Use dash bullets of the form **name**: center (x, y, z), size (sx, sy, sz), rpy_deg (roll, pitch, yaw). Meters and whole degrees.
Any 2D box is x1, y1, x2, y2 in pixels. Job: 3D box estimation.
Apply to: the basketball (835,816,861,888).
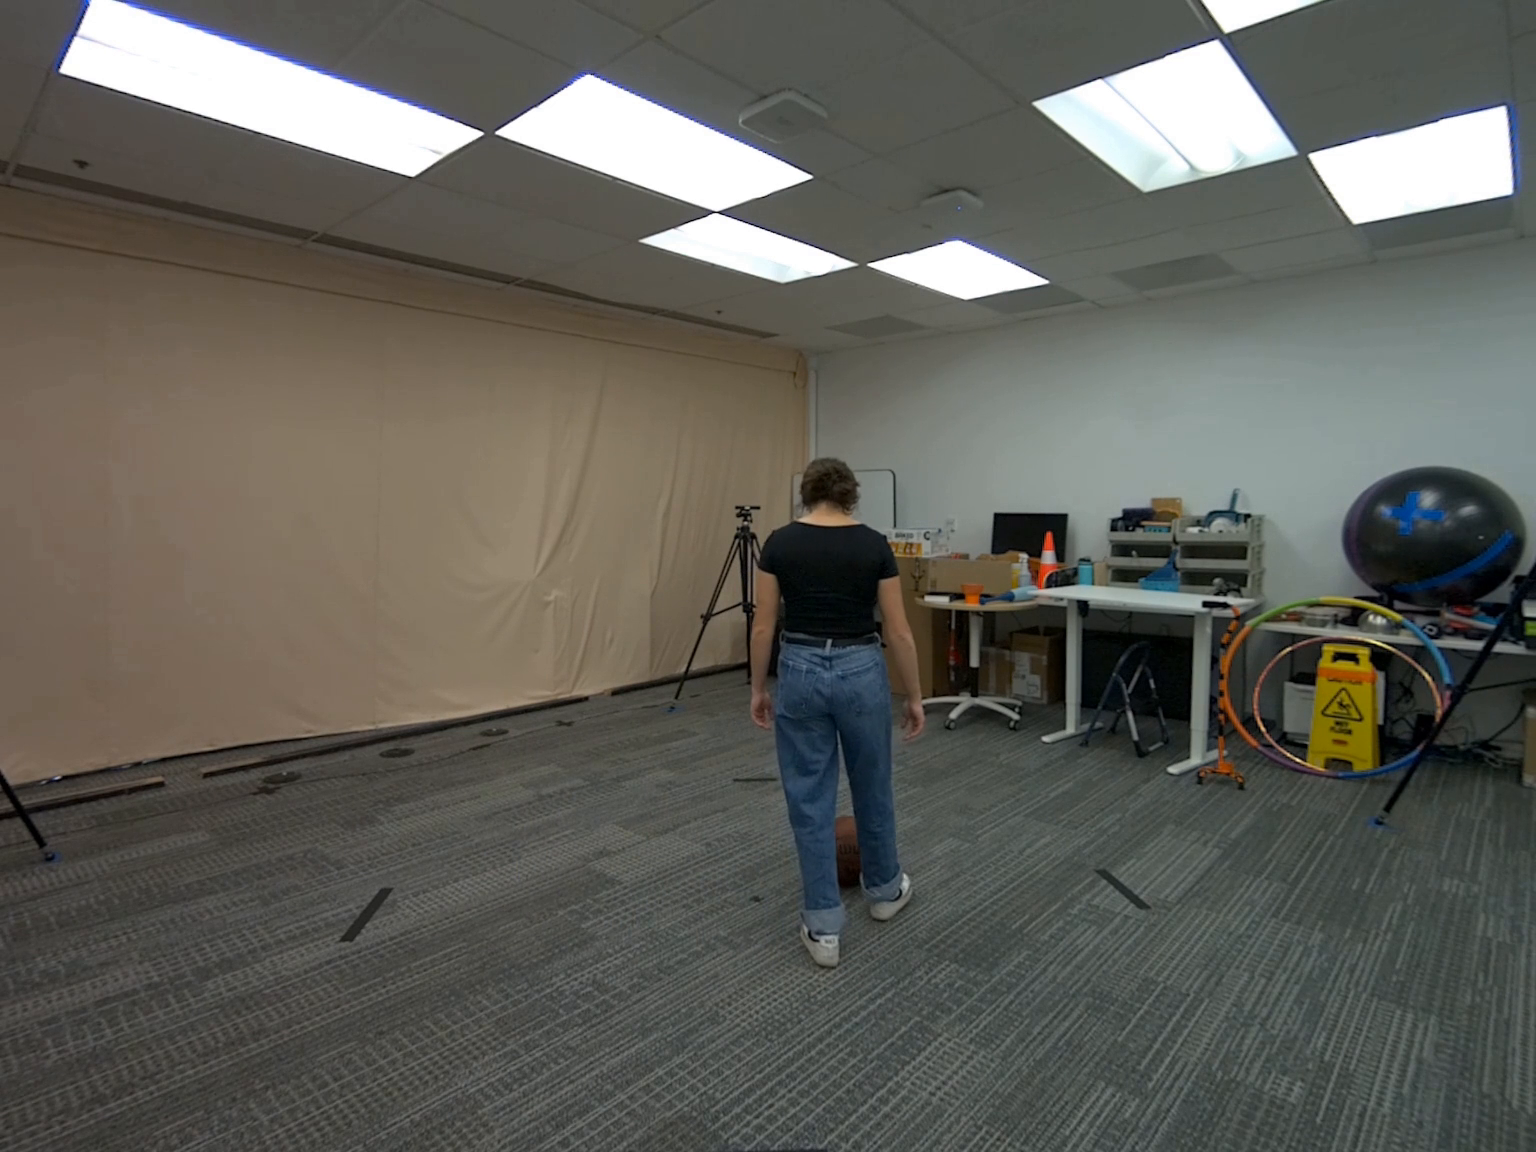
- **basketball**: center (0.296, 1.011, 3.111), size (0.236, 0.235, 0.237), rpy_deg (0, 4, -2)
